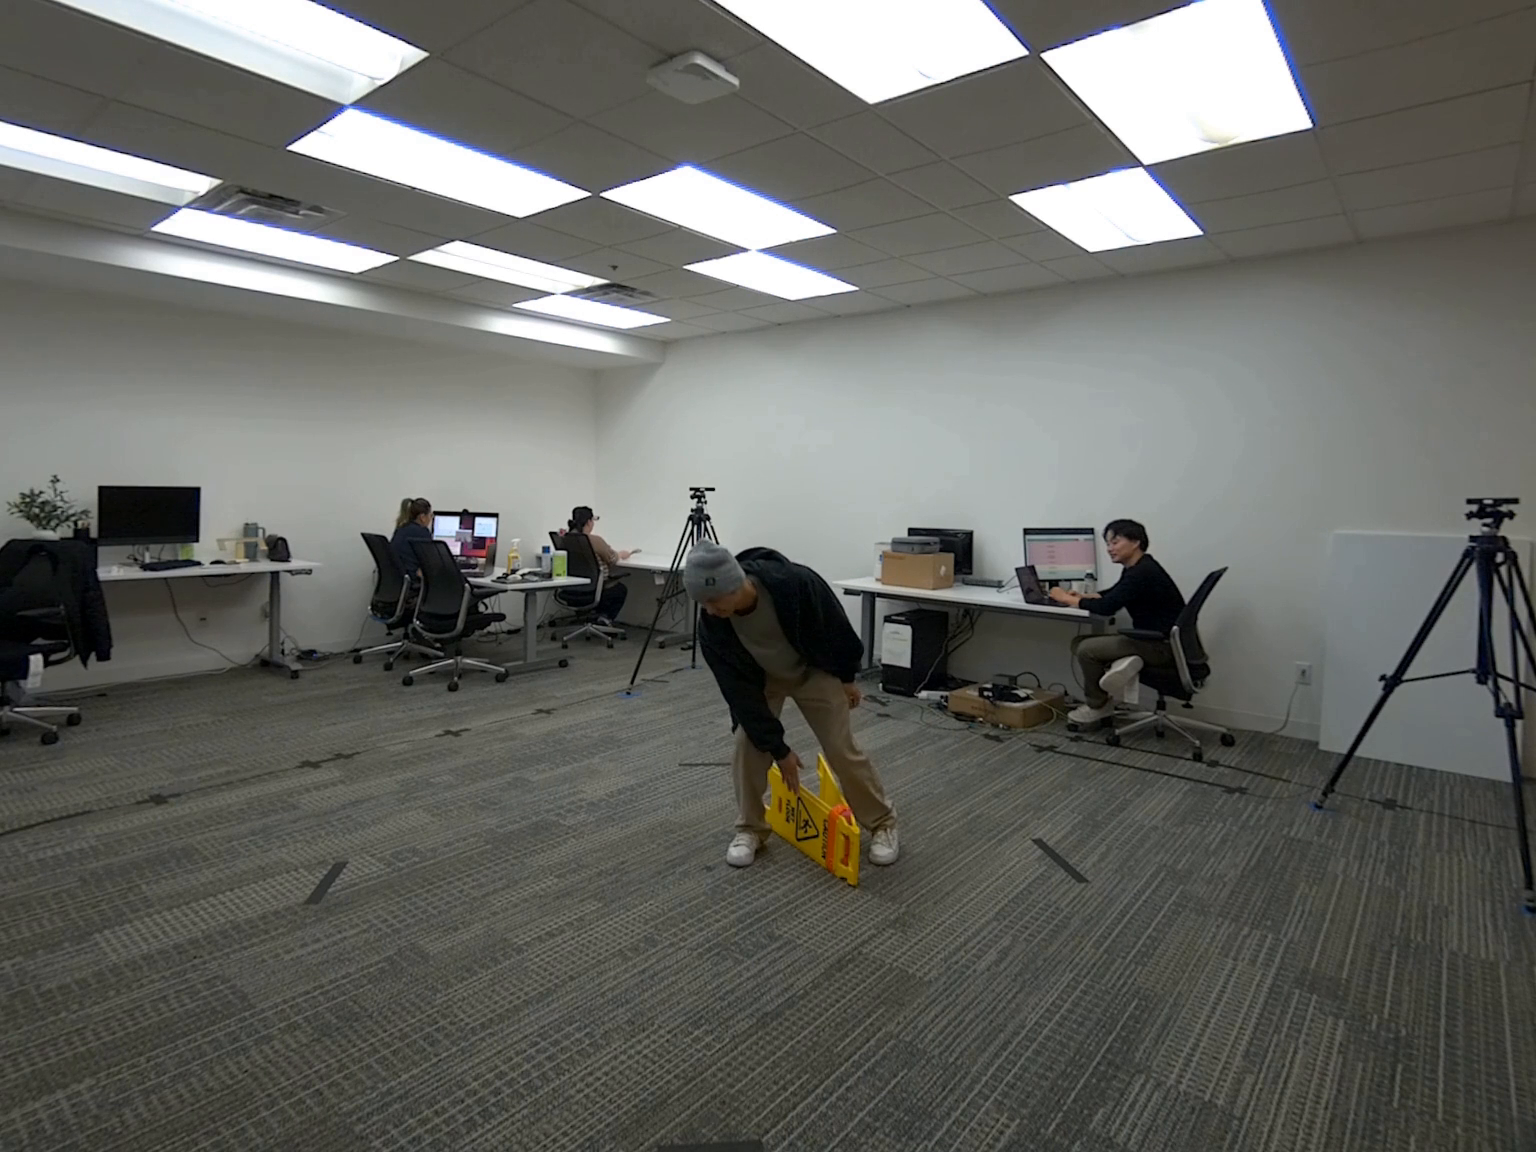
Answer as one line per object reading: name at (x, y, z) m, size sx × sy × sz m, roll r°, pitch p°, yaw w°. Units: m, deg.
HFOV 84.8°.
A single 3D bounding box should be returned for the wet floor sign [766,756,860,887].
wet floor sign at (0.203, 0.933, 3.277) m, size 0.284 × 0.280 × 0.662 m, roll -1°, pitch 8°, yaw -19°
